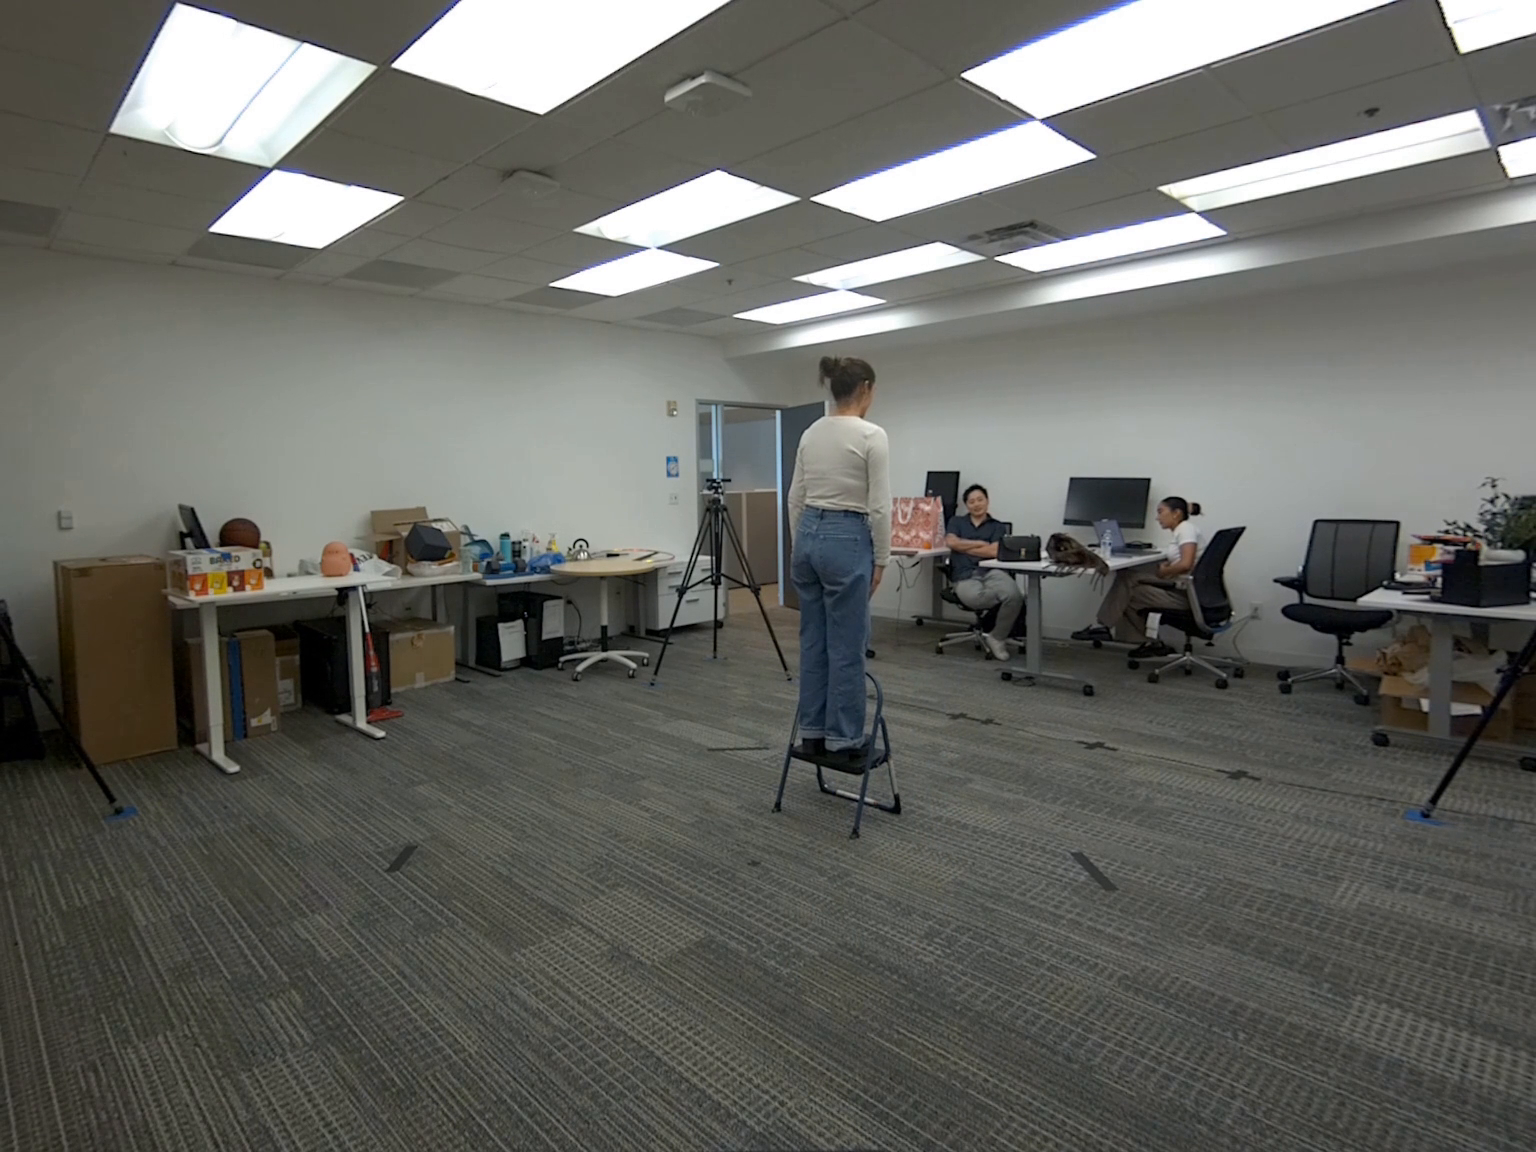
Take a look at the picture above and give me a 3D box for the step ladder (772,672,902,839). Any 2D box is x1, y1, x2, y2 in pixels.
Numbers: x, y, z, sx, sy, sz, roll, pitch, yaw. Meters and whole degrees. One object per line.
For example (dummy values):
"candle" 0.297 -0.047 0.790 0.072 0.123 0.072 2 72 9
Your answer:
"step ladder" 0.290 0.687 3.552 0.444 0.604 0.340 4 5 42
